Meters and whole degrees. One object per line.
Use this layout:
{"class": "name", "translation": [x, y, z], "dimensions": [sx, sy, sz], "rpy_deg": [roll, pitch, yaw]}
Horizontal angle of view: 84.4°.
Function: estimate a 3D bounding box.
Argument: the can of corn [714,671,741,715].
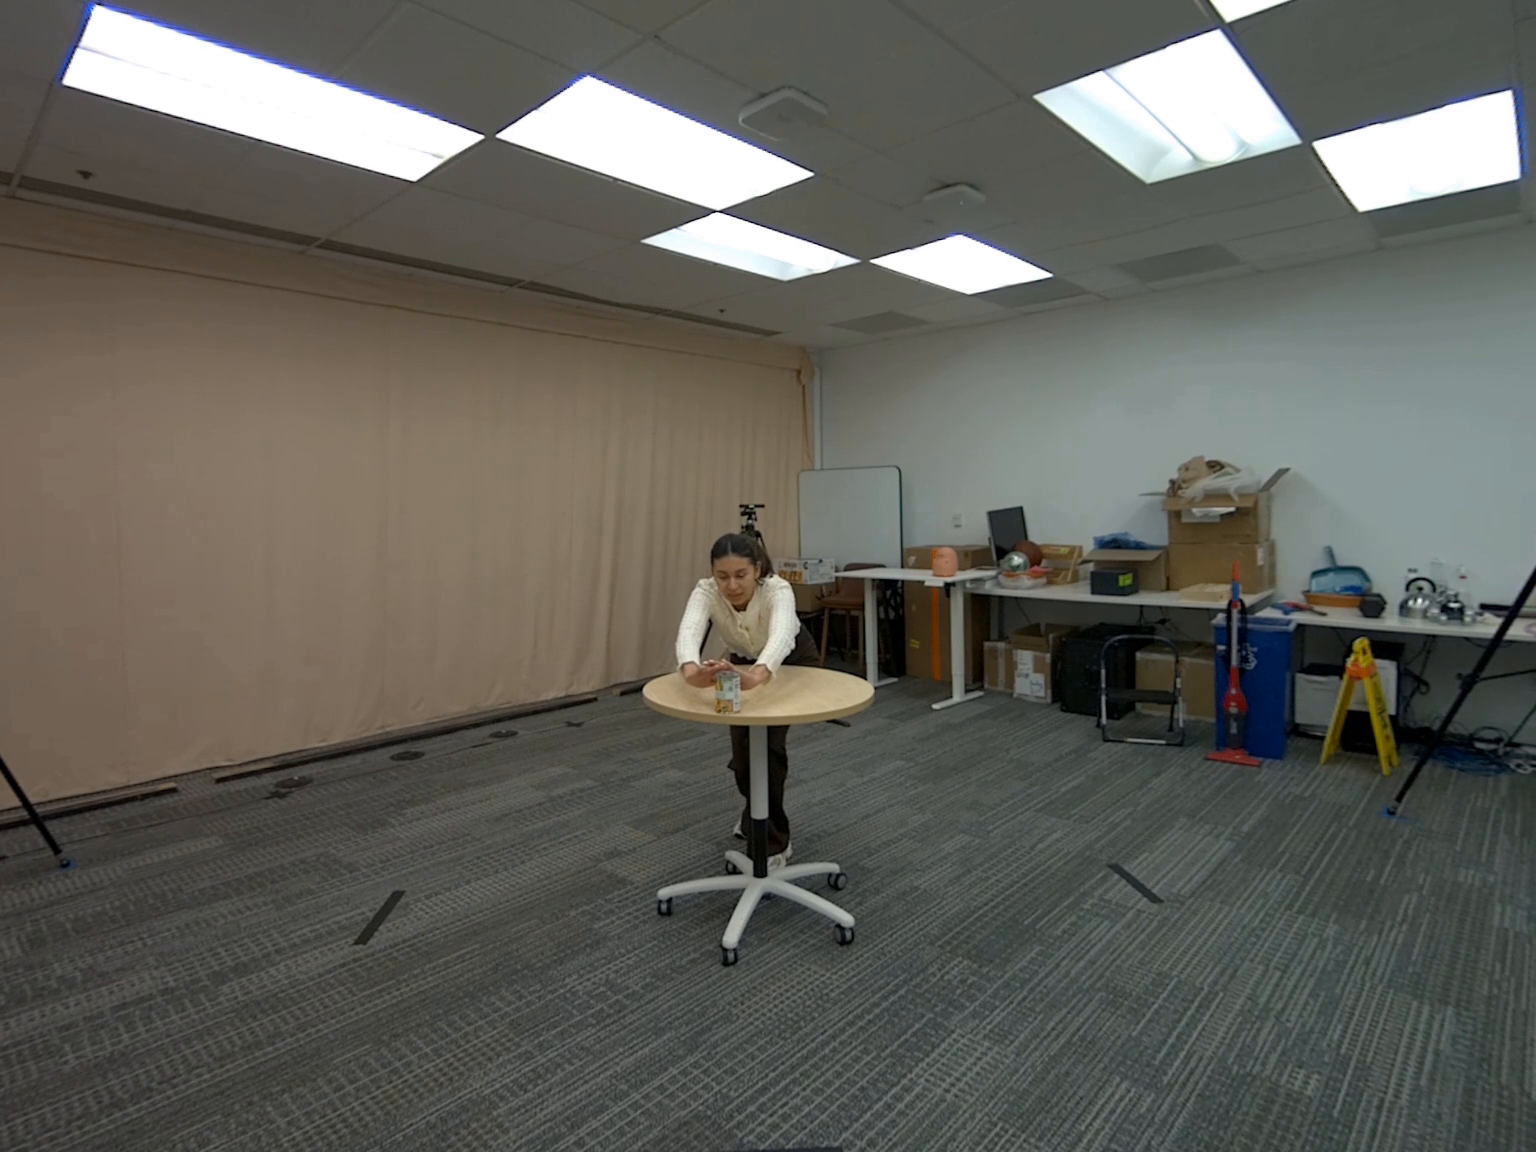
{"class": "can of corn", "translation": [-0.126, 0.347, 2.483], "dimensions": [0.074, 0.111, 0.074], "rpy_deg": [-5, 5, -1]}
